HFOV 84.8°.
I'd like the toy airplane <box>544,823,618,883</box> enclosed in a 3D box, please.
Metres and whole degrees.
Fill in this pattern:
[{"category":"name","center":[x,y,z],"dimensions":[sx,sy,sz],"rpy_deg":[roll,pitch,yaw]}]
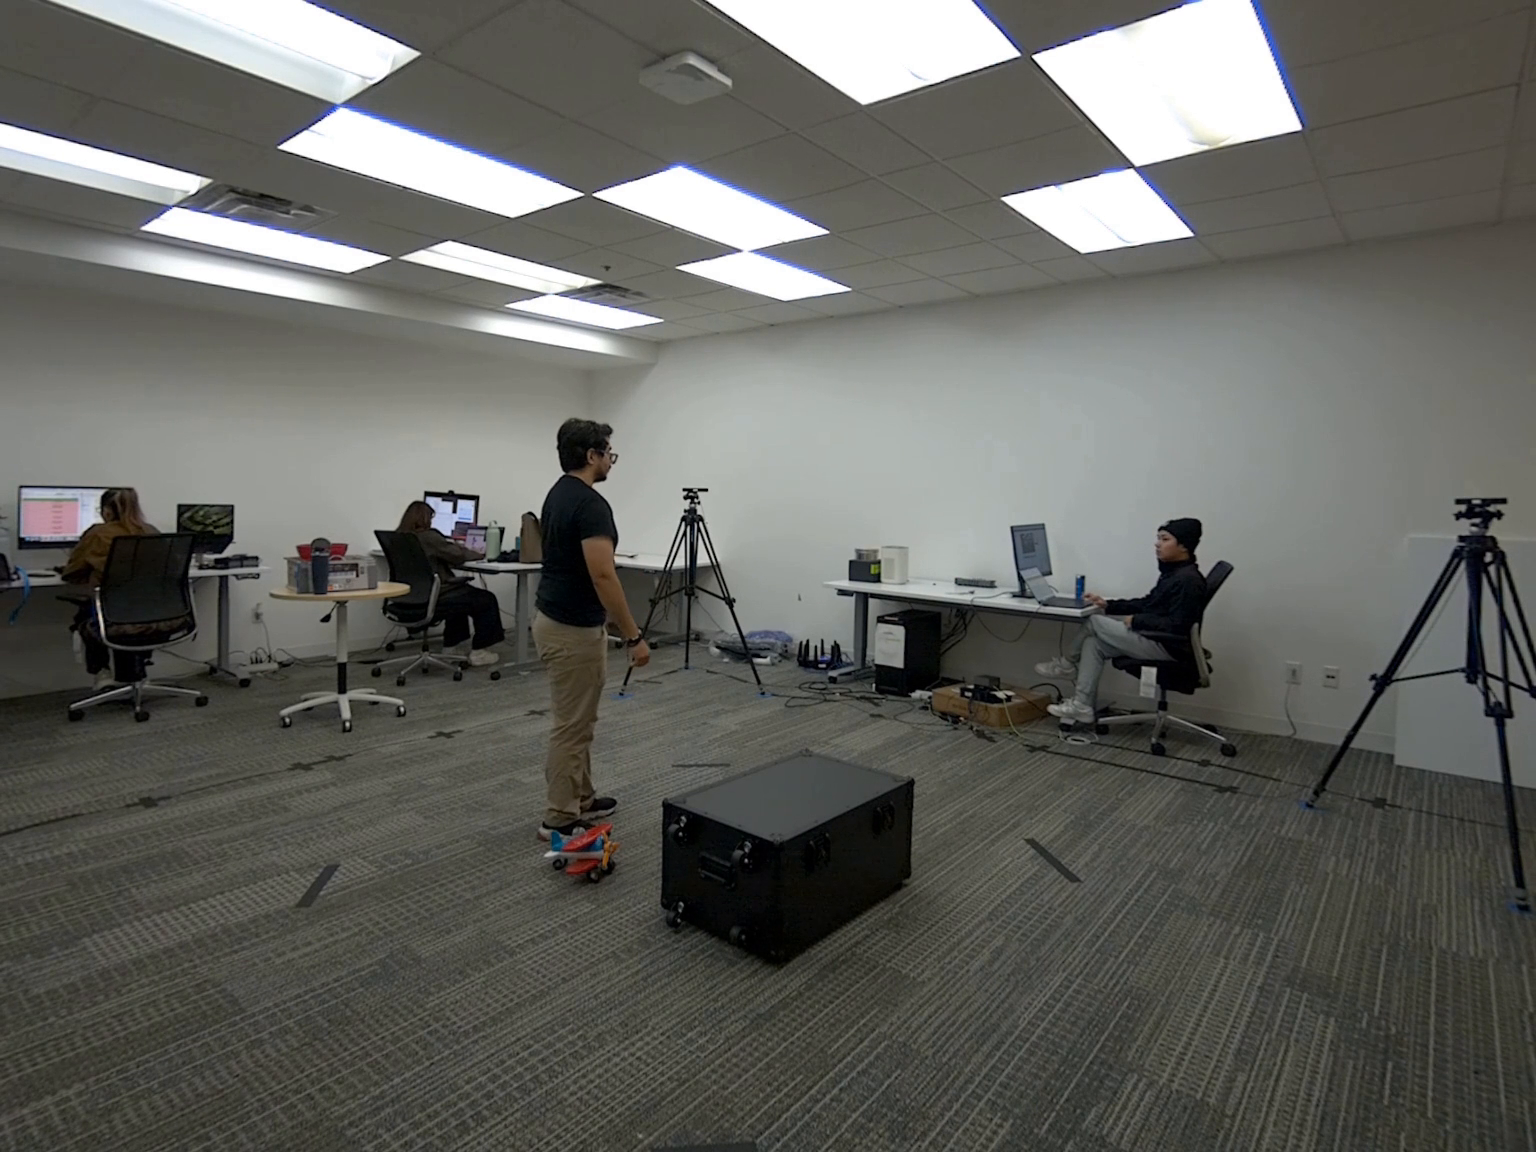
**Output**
[{"category":"toy airplane","center":[-0.686,0.994,3.045],"dimensions":[0.258,0.156,0.253],"rpy_deg":[2,4,-5]}]
